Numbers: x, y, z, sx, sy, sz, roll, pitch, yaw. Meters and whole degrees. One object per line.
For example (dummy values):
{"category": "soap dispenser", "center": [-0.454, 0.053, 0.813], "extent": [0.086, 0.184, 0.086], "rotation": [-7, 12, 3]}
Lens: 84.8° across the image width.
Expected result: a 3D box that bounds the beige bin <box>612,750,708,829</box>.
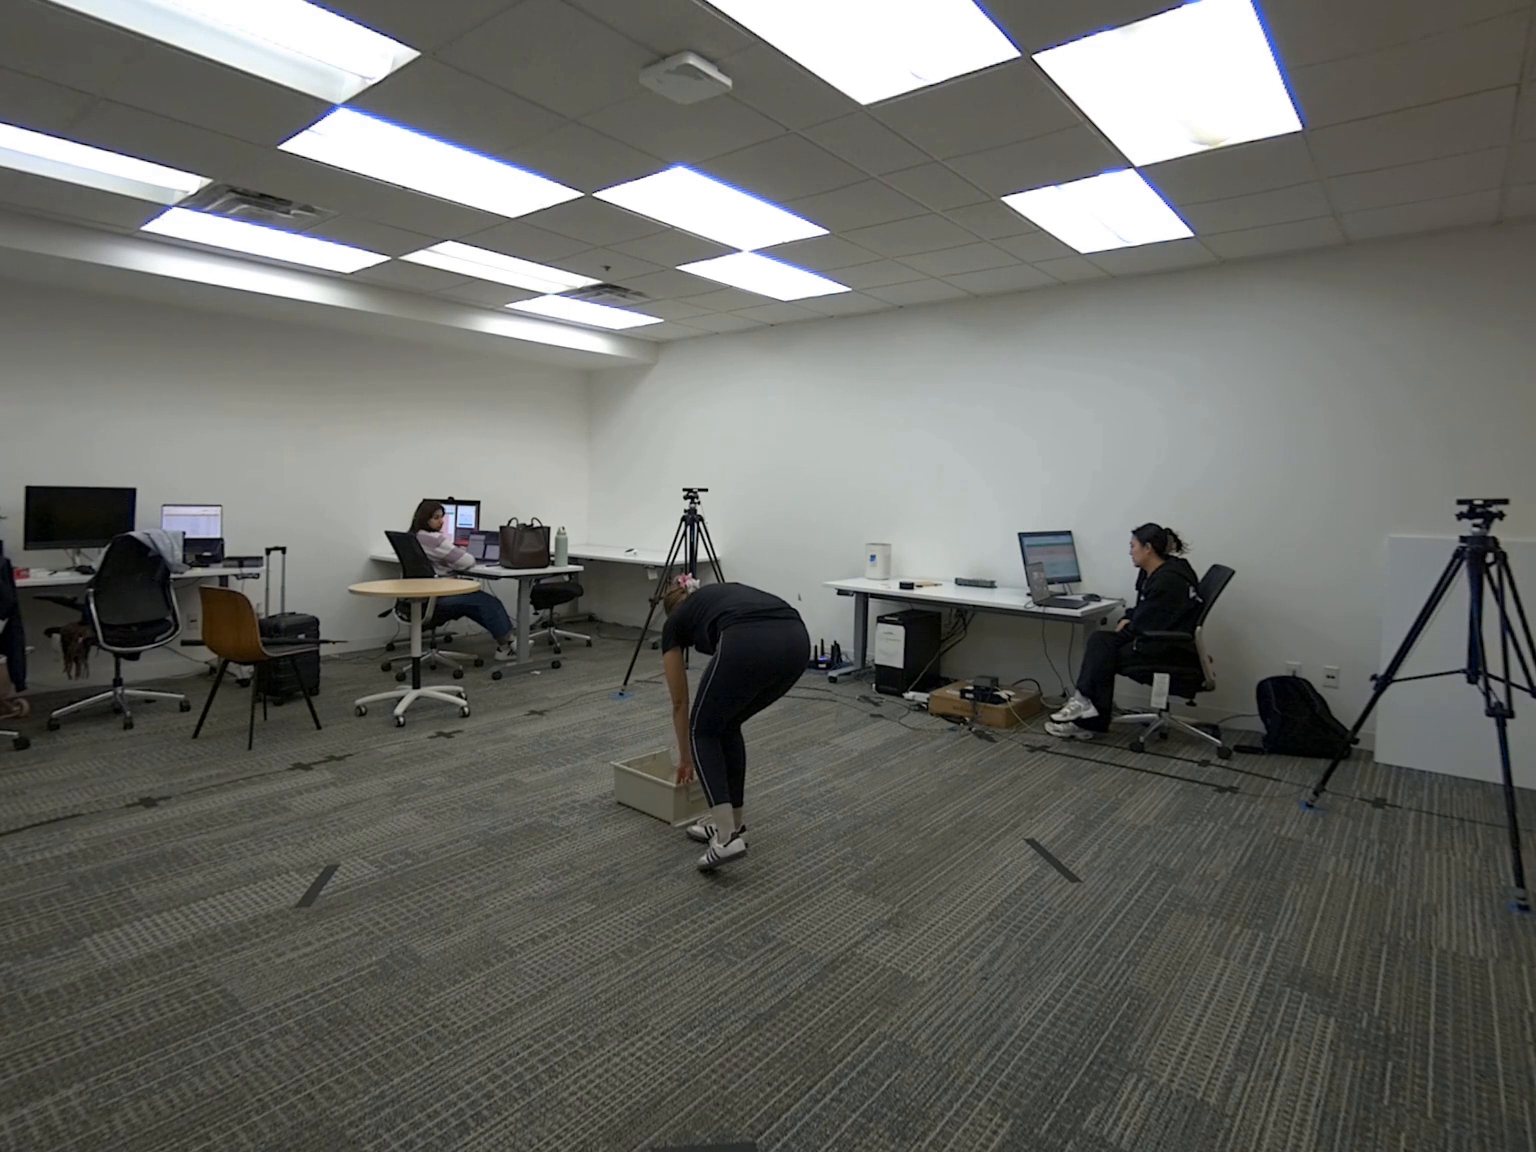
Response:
{"category": "beige bin", "center": [-0.433, 0.915, 3.750], "extent": [0.437, 0.188, 0.366], "rotation": [6, 8, 41]}
